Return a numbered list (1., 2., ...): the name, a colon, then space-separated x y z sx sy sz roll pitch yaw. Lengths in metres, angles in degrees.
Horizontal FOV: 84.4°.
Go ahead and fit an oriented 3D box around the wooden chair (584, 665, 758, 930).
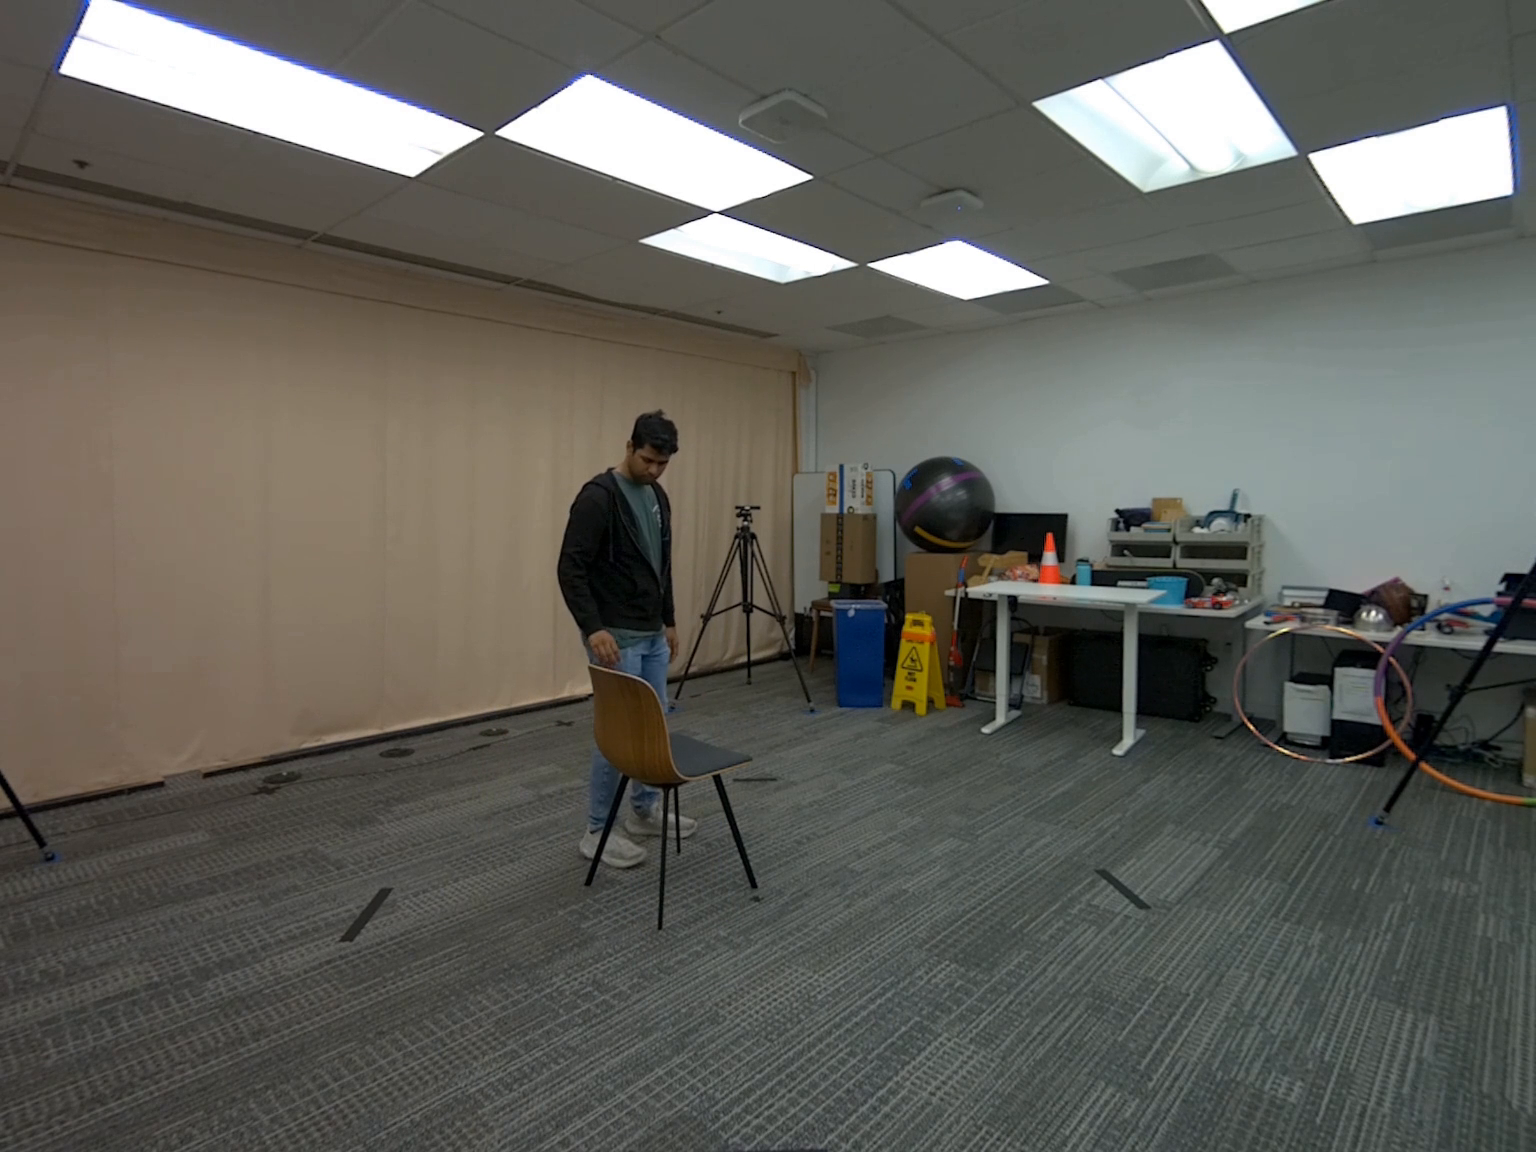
1. wooden chair: -0.342 0.713 3.052 0.508 0.874 0.494 -9 8 -43
